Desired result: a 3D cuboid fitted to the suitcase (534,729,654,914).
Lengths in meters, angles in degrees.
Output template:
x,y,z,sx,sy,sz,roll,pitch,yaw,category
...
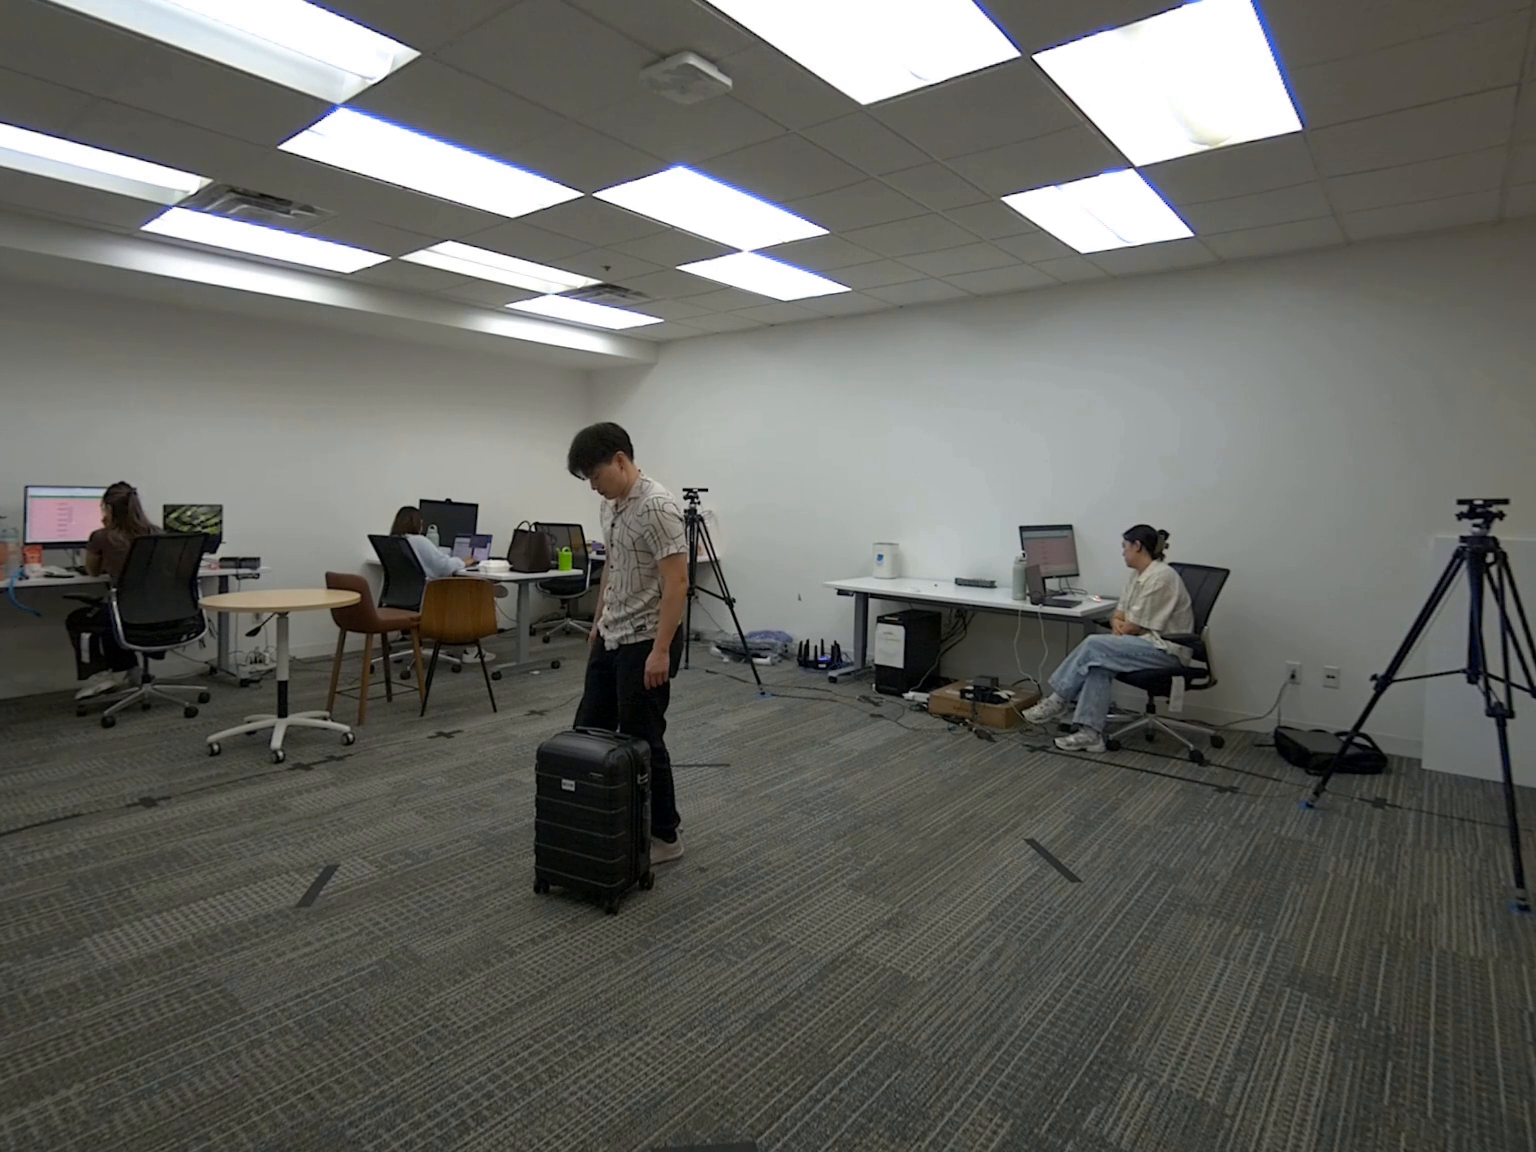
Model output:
x,y,z,sx,sy,sz,roll,pitch,yaw,category
-0.605,0.805,2.904,0.386,0.547,0.242,3,5,27,suitcase
